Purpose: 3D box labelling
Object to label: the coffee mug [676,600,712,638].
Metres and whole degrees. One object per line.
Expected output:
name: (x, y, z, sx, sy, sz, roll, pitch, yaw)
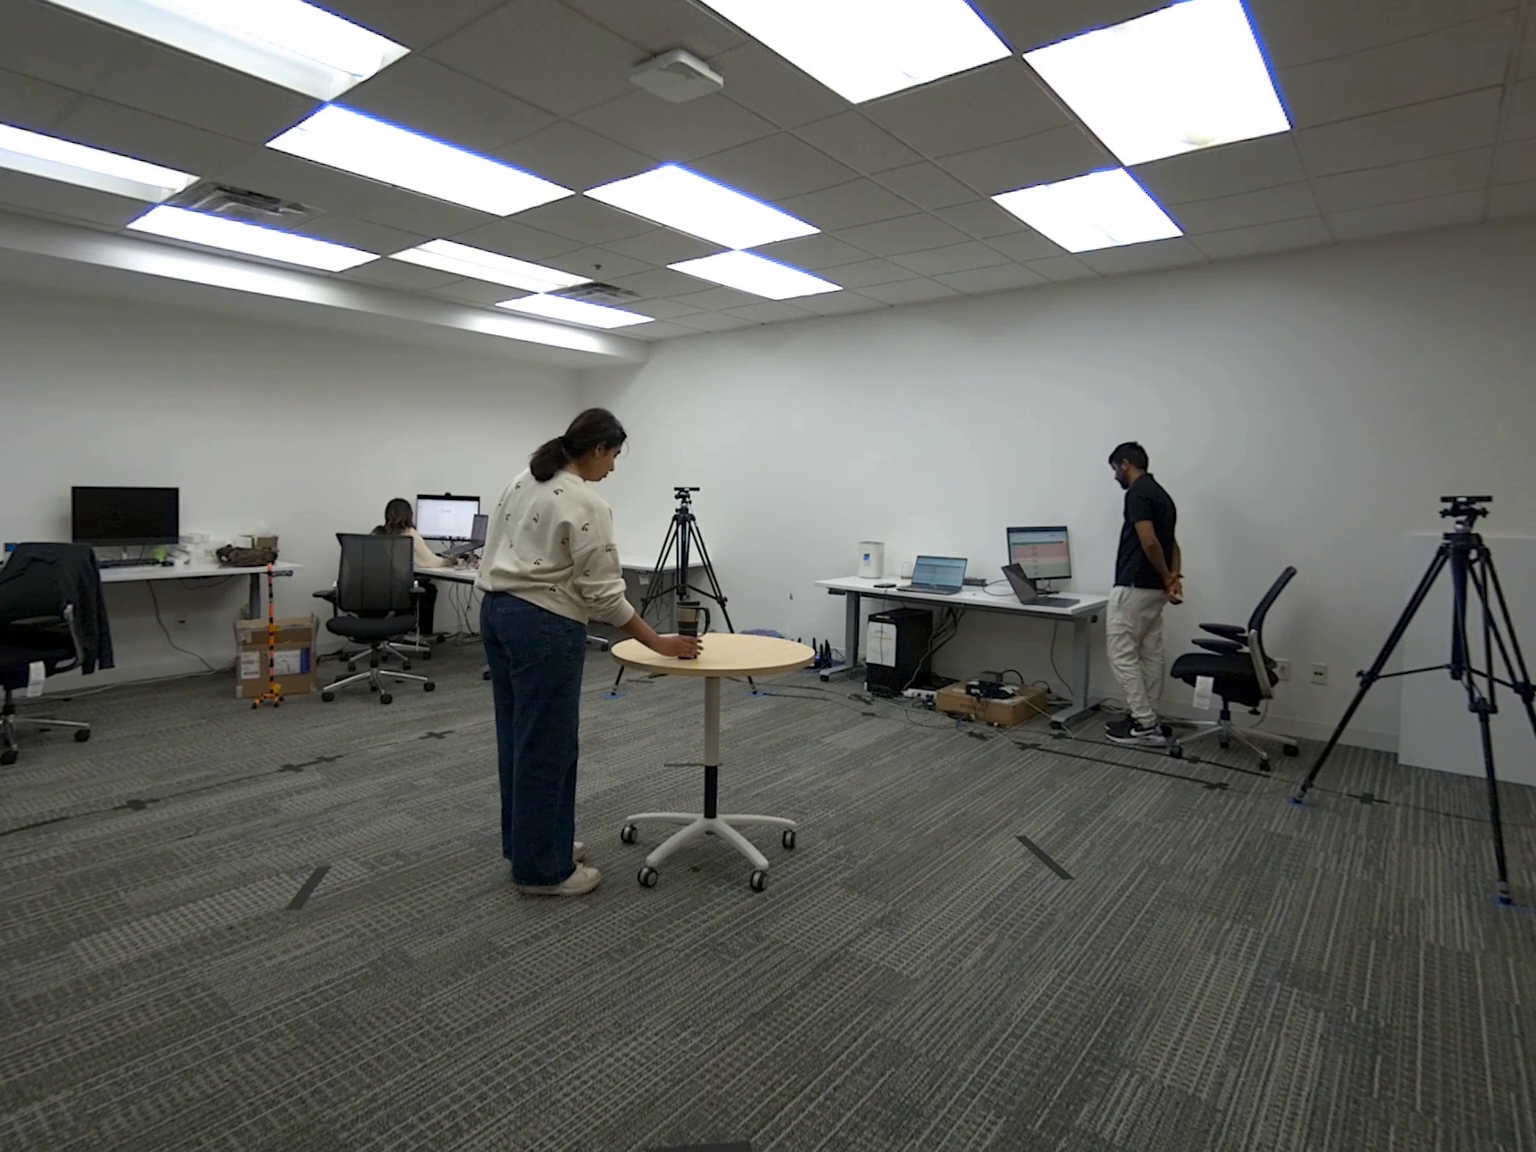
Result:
coffee mug: (-0.283, 0.193, 3.014, 0.085, 0.203, 0.126, 1, 0, -42)
